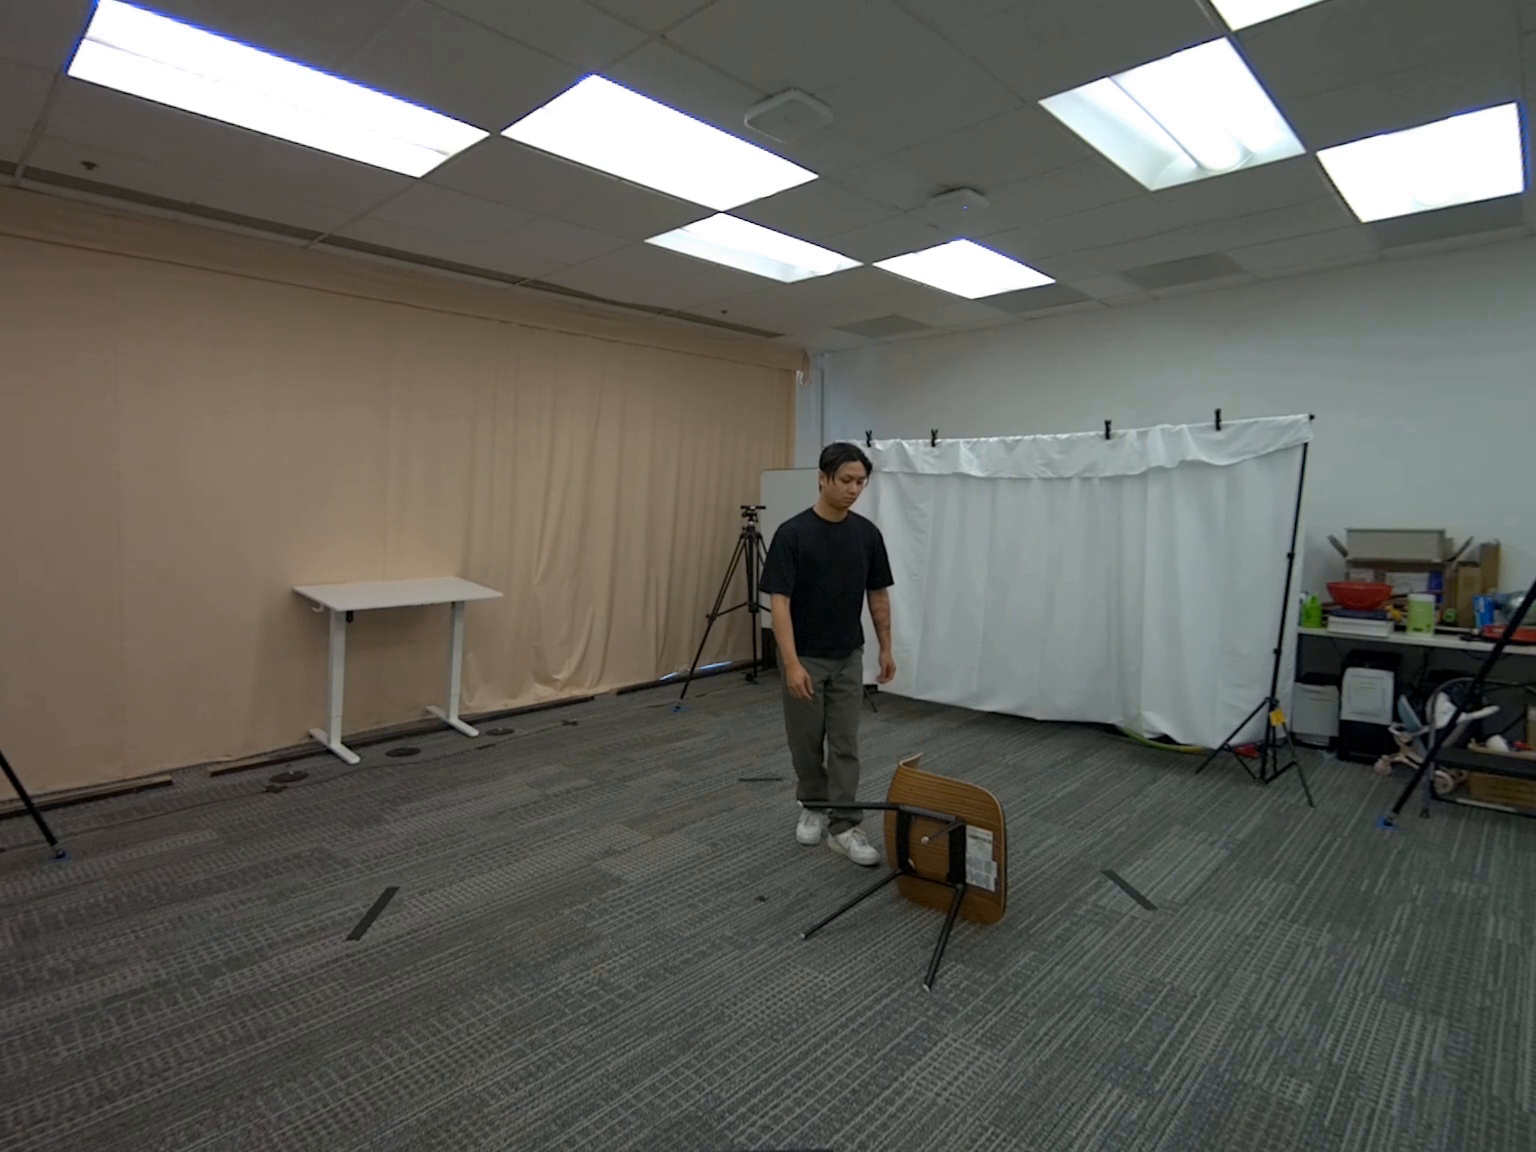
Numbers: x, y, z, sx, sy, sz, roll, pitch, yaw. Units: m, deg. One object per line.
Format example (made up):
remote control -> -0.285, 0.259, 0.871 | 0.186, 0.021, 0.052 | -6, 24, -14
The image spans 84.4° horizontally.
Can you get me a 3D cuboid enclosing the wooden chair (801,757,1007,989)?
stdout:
wooden chair -> 0.553, 0.924, 2.849 | 0.539, 0.477, 0.852 | 2, 5, 35
